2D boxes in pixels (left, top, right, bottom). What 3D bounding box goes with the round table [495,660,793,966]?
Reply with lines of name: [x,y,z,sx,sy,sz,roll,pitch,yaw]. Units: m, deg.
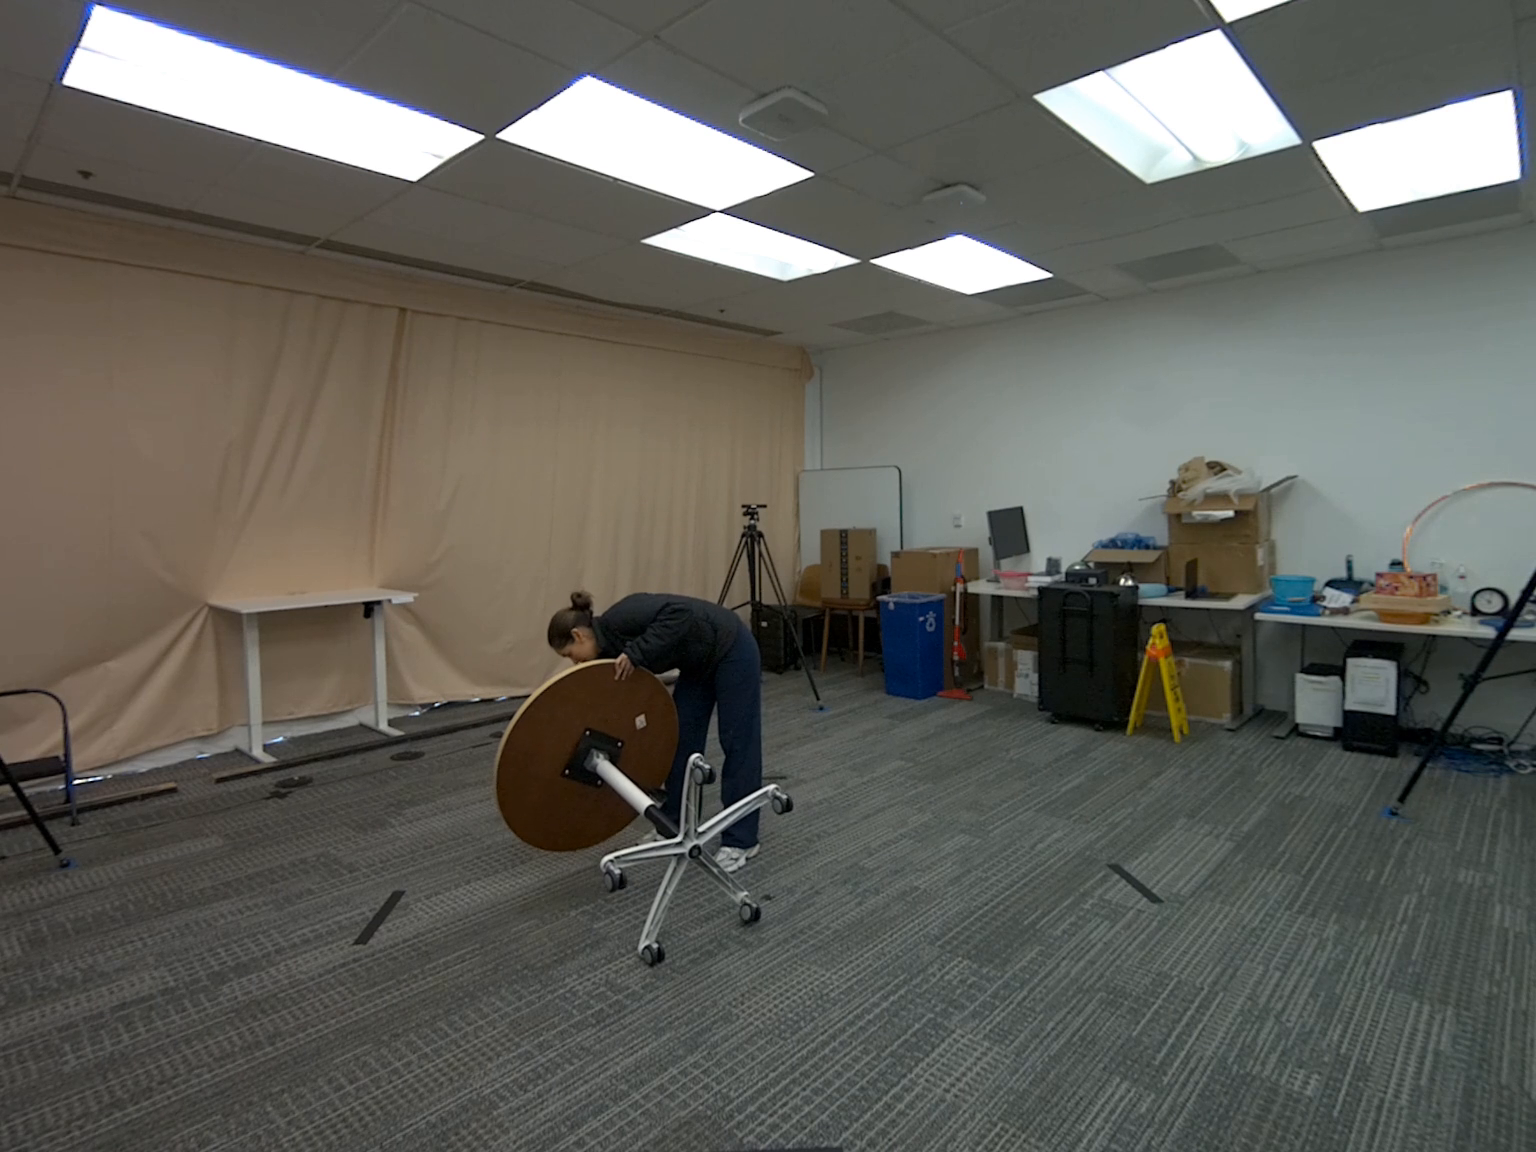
round table: [-0.413,0.780,2.886,0.761,0.780,0.816,-4,18,-40]
